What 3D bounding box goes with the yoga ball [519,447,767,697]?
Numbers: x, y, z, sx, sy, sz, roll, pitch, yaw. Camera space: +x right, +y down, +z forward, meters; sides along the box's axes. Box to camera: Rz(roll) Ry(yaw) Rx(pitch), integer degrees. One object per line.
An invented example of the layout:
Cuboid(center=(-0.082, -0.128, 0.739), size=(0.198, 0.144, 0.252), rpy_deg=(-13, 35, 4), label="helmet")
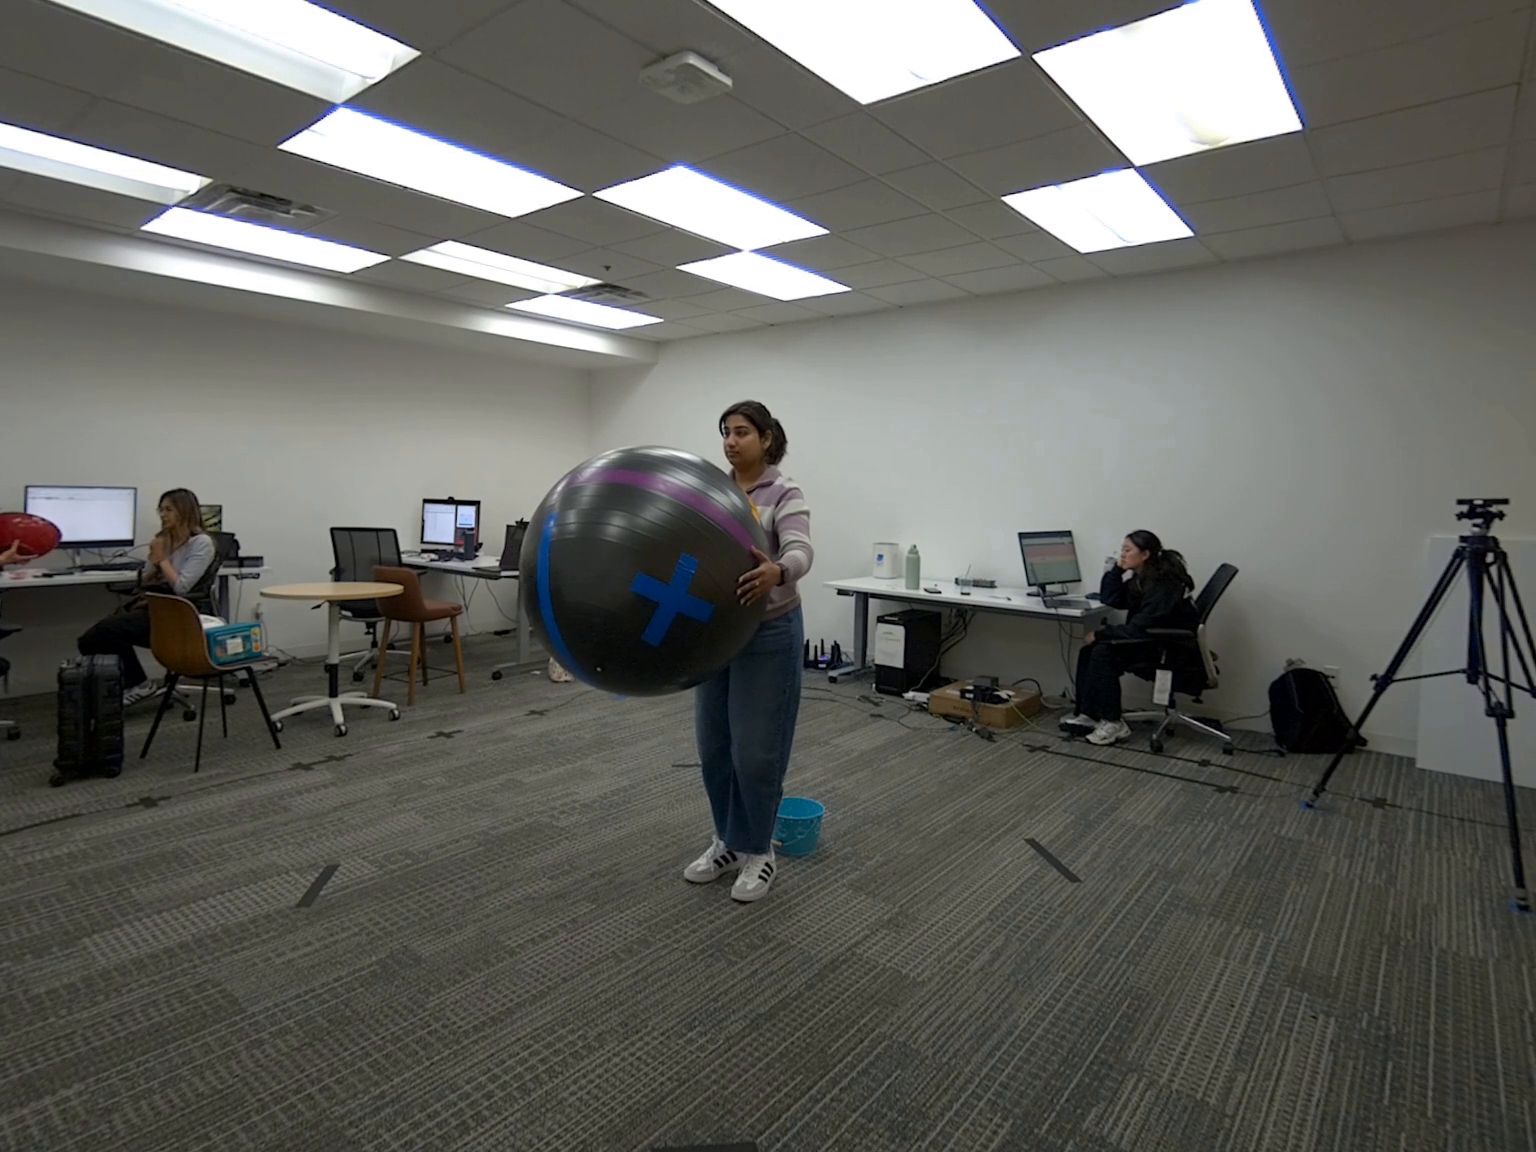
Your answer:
Cuboid(center=(-0.381, -0.012, 2.568), size=(0.757, 0.756, 0.762), rpy_deg=(1, 4, -2), label="yoga ball")
